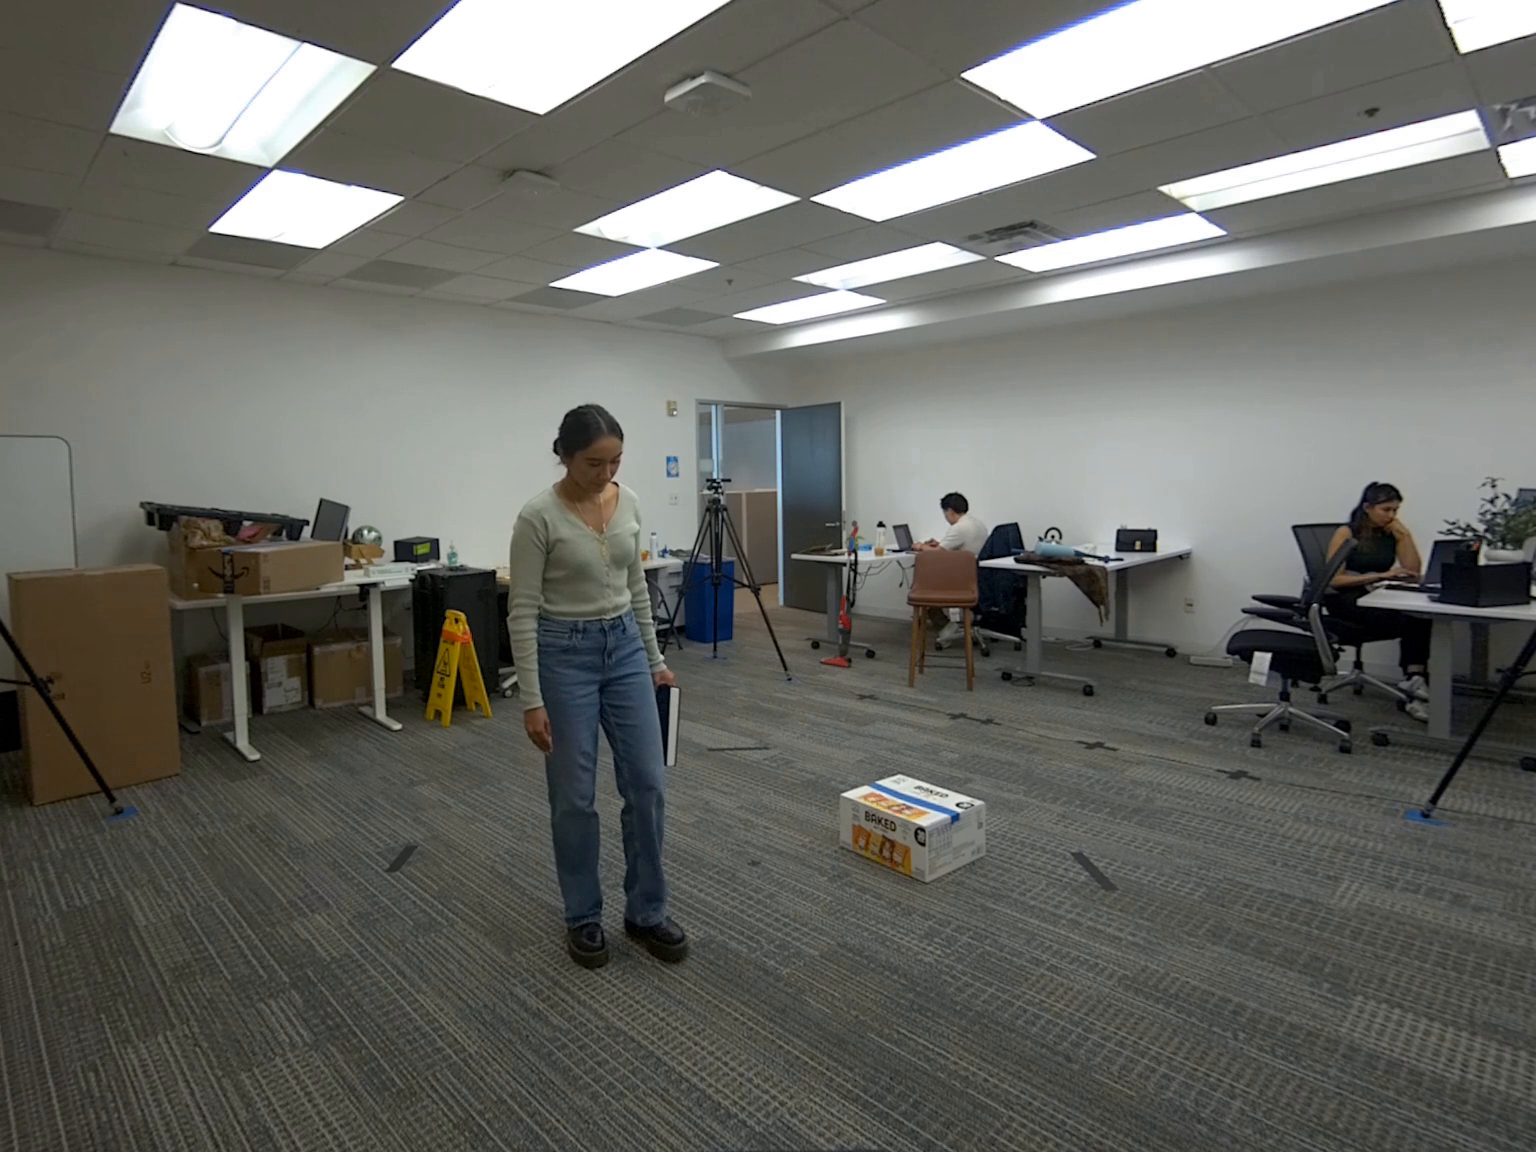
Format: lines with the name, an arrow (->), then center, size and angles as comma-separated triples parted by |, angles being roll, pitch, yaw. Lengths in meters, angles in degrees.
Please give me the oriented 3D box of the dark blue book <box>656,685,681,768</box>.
dark blue book -> -0.352, 0.475, 2.719 | 0.168, 0.246, 0.044 | -2, -9, 44
